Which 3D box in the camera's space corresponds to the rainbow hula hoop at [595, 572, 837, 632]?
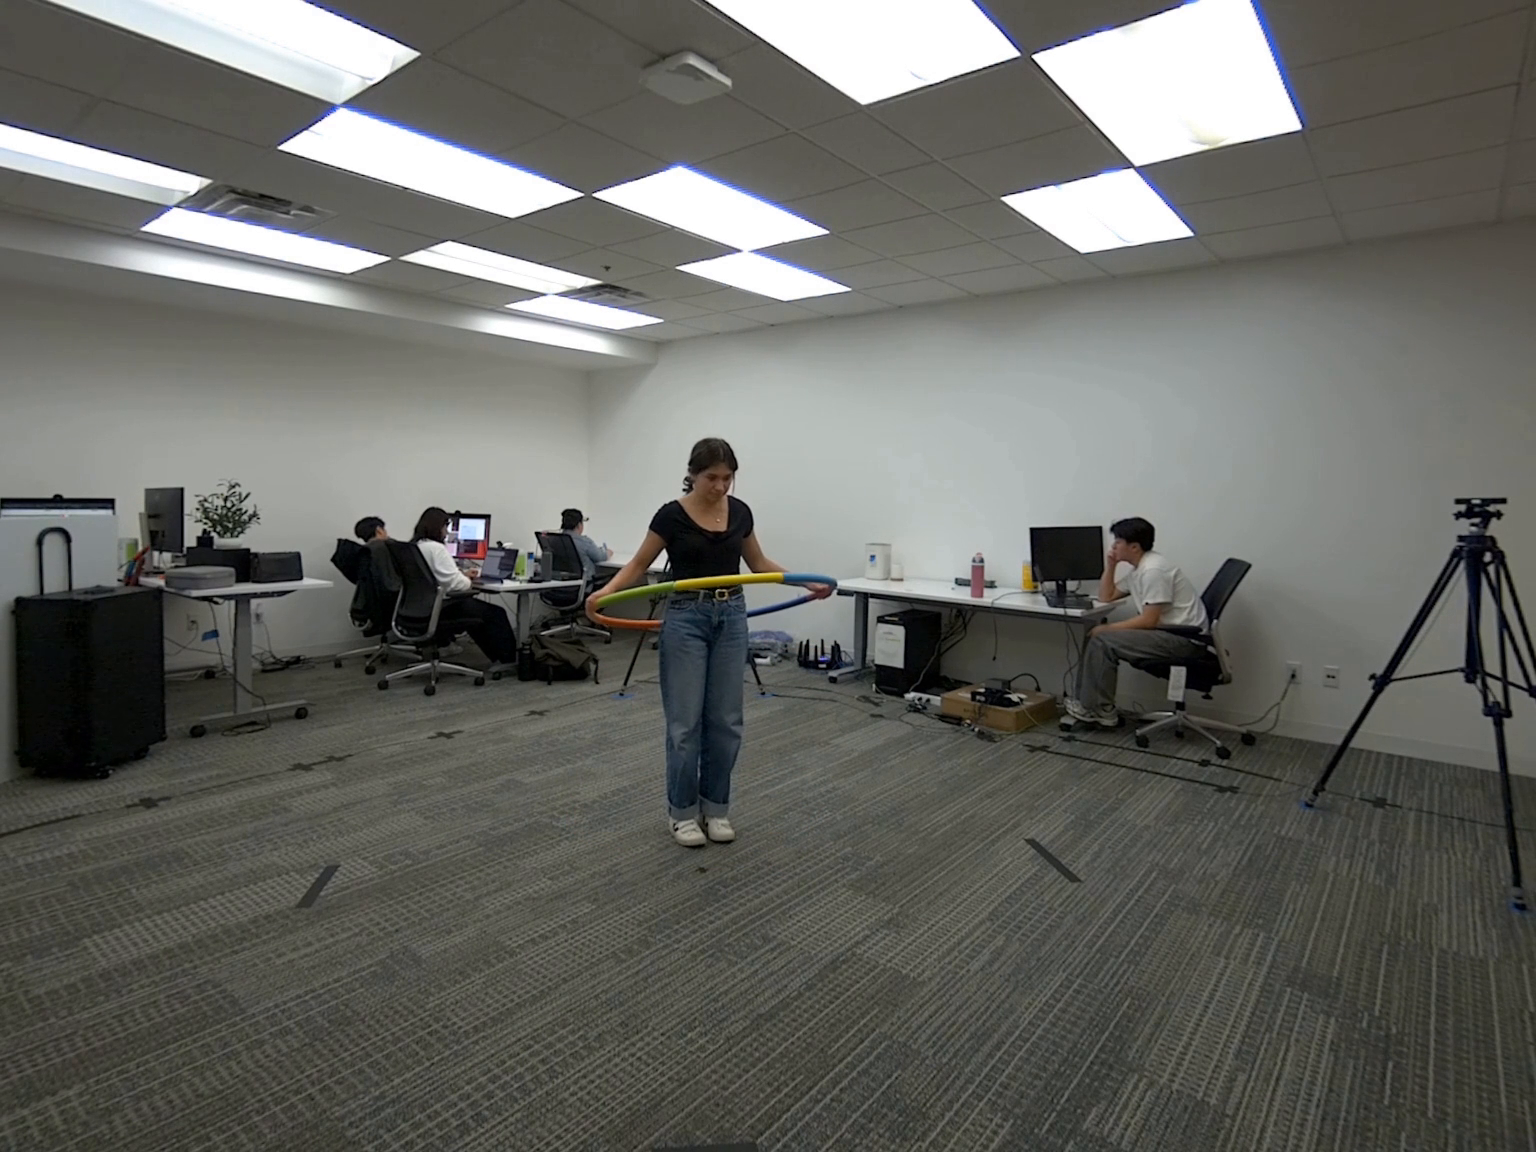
[{"bbox_3d":[-0.218,0.094,3.335,0.976,0.036,0.969,-6,-9,-3],"label":"rainbow hula hoop"}]
